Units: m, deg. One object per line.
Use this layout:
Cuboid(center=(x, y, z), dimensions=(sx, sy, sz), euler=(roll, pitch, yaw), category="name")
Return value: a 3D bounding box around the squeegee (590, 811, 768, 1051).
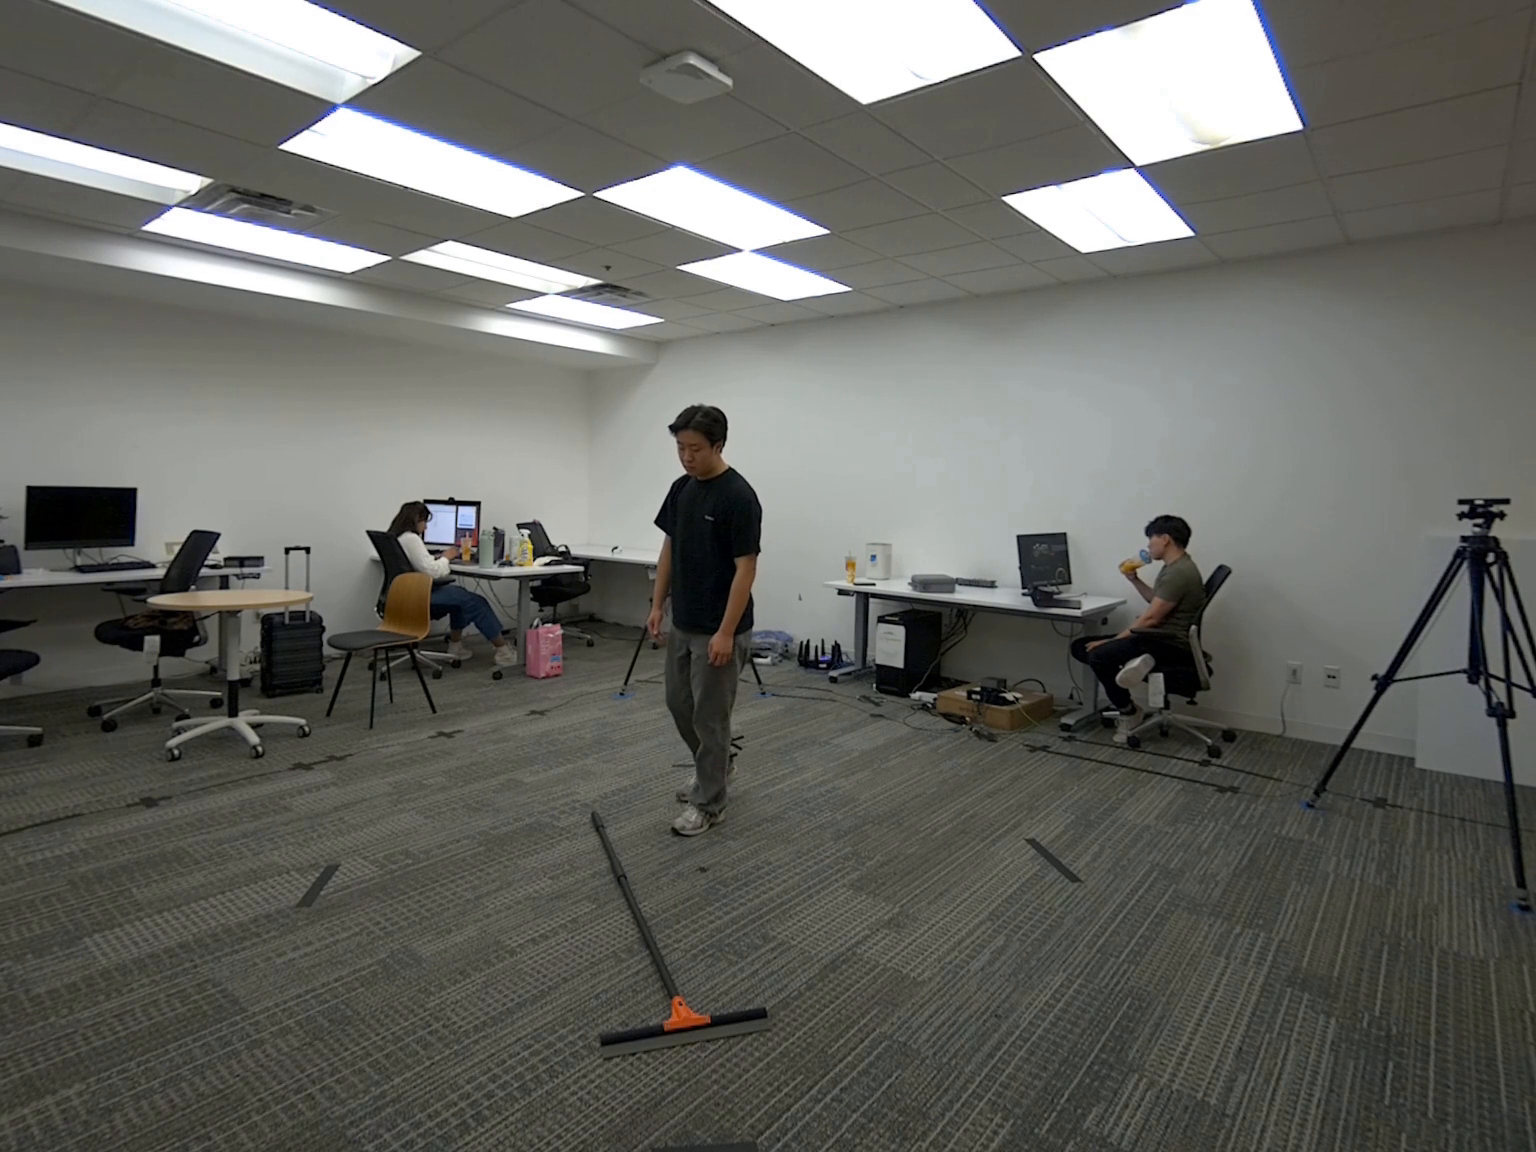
Cuboid(center=(-0.474, 1.044, 2.862), dimensions=(0.428, 0.053, 1.575), euler=(0, 5, -21), category="squeegee")
